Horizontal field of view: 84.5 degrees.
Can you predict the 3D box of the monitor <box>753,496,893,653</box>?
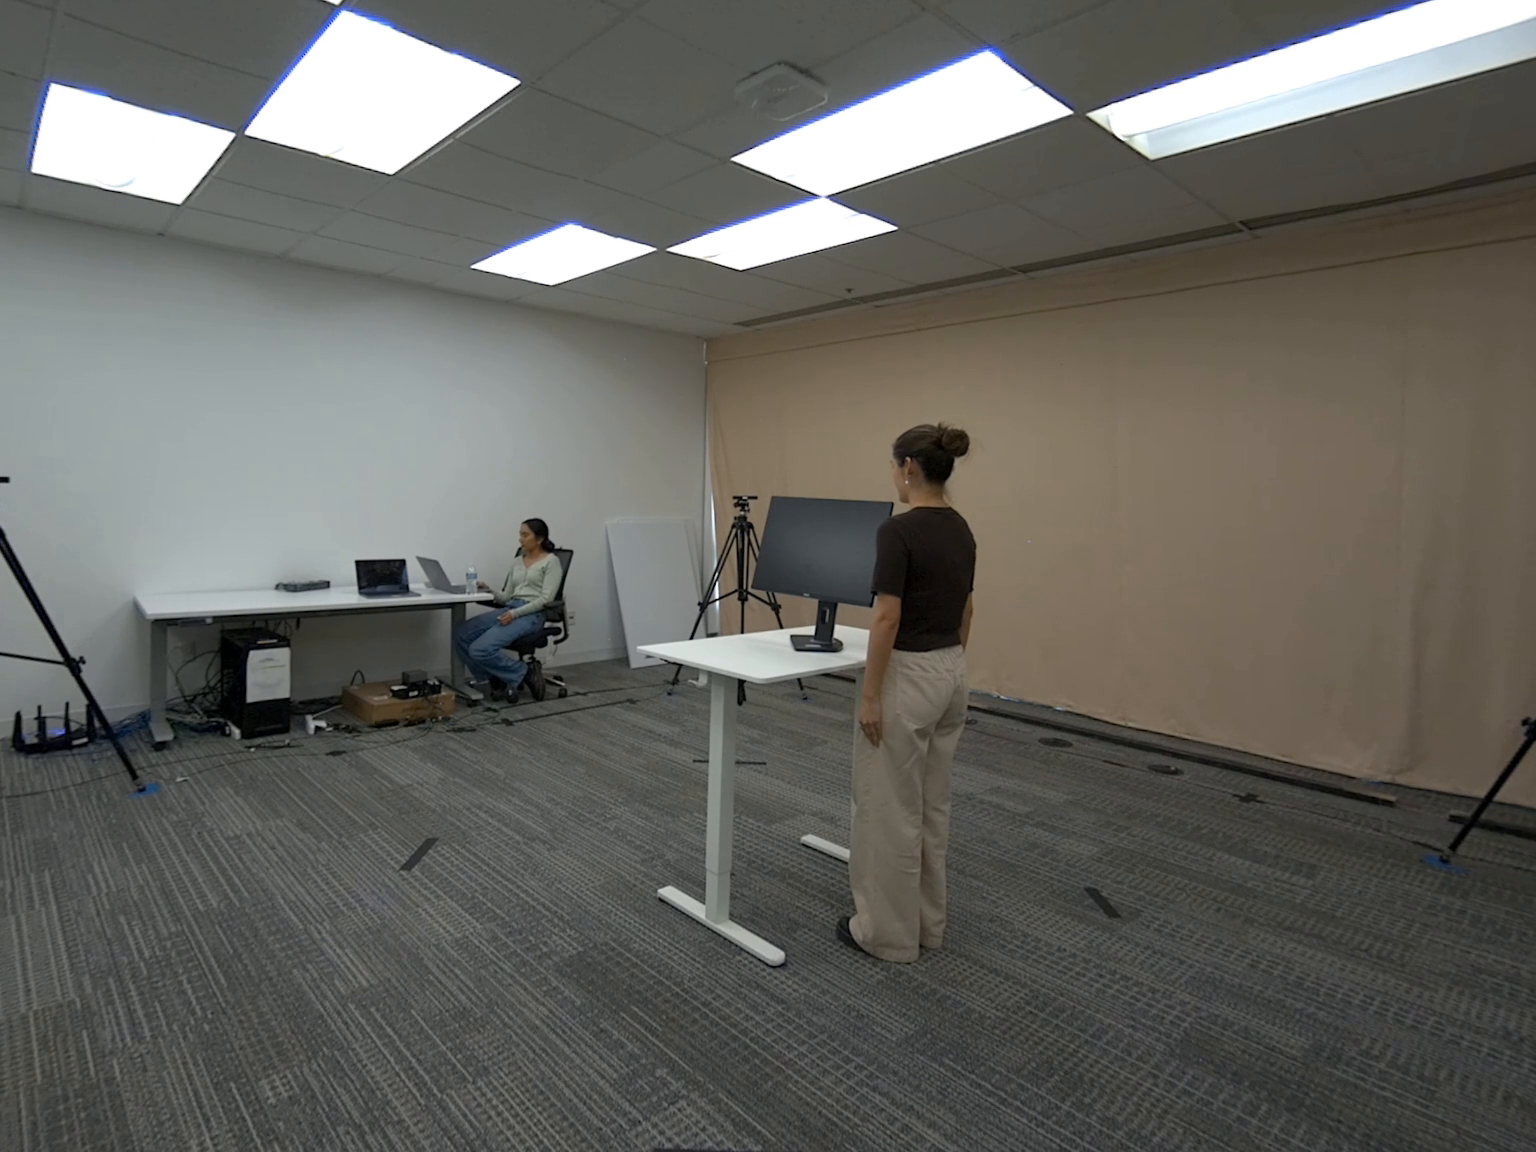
[{"bbox_3d":[0.187,-0.006,2.916,0.553,0.521,0.183,7,6,40],"label":"monitor"}]
